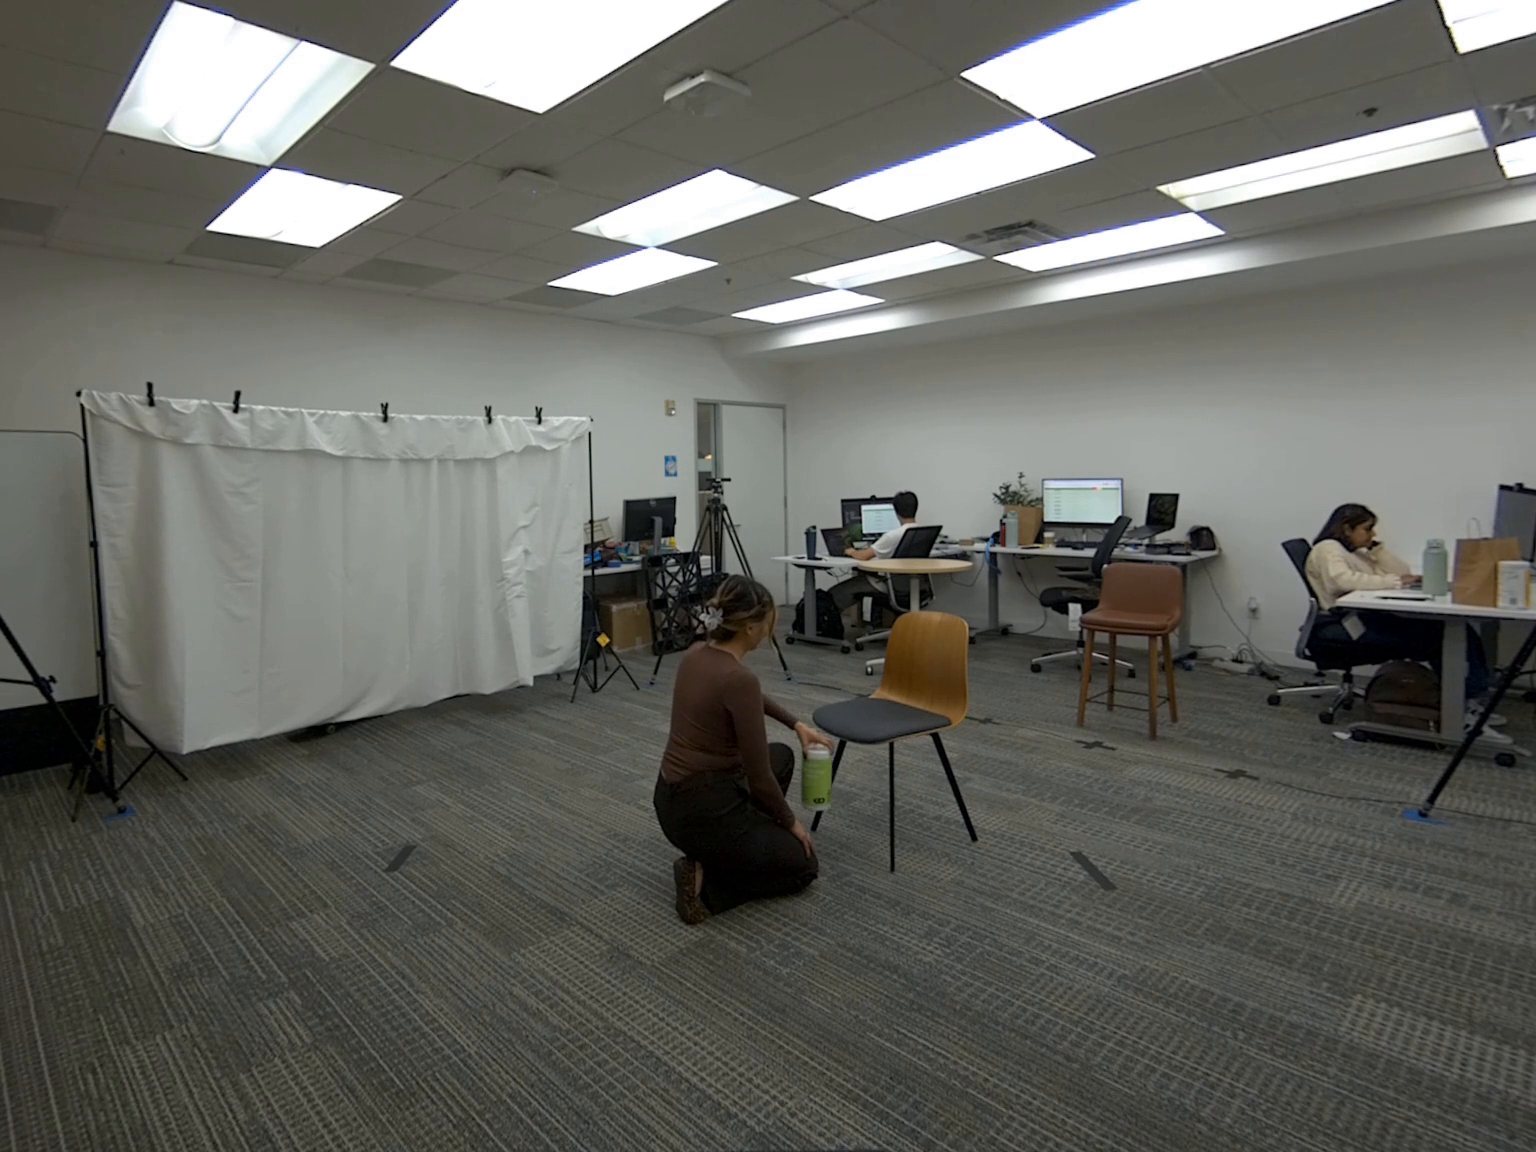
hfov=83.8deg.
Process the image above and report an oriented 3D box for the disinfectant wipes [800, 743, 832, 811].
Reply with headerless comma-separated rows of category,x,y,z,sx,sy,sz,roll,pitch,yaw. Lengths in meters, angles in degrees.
disinfectant wipes,0.175,0.725,3.091,0.118,0.217,0.118,1,3,-2
